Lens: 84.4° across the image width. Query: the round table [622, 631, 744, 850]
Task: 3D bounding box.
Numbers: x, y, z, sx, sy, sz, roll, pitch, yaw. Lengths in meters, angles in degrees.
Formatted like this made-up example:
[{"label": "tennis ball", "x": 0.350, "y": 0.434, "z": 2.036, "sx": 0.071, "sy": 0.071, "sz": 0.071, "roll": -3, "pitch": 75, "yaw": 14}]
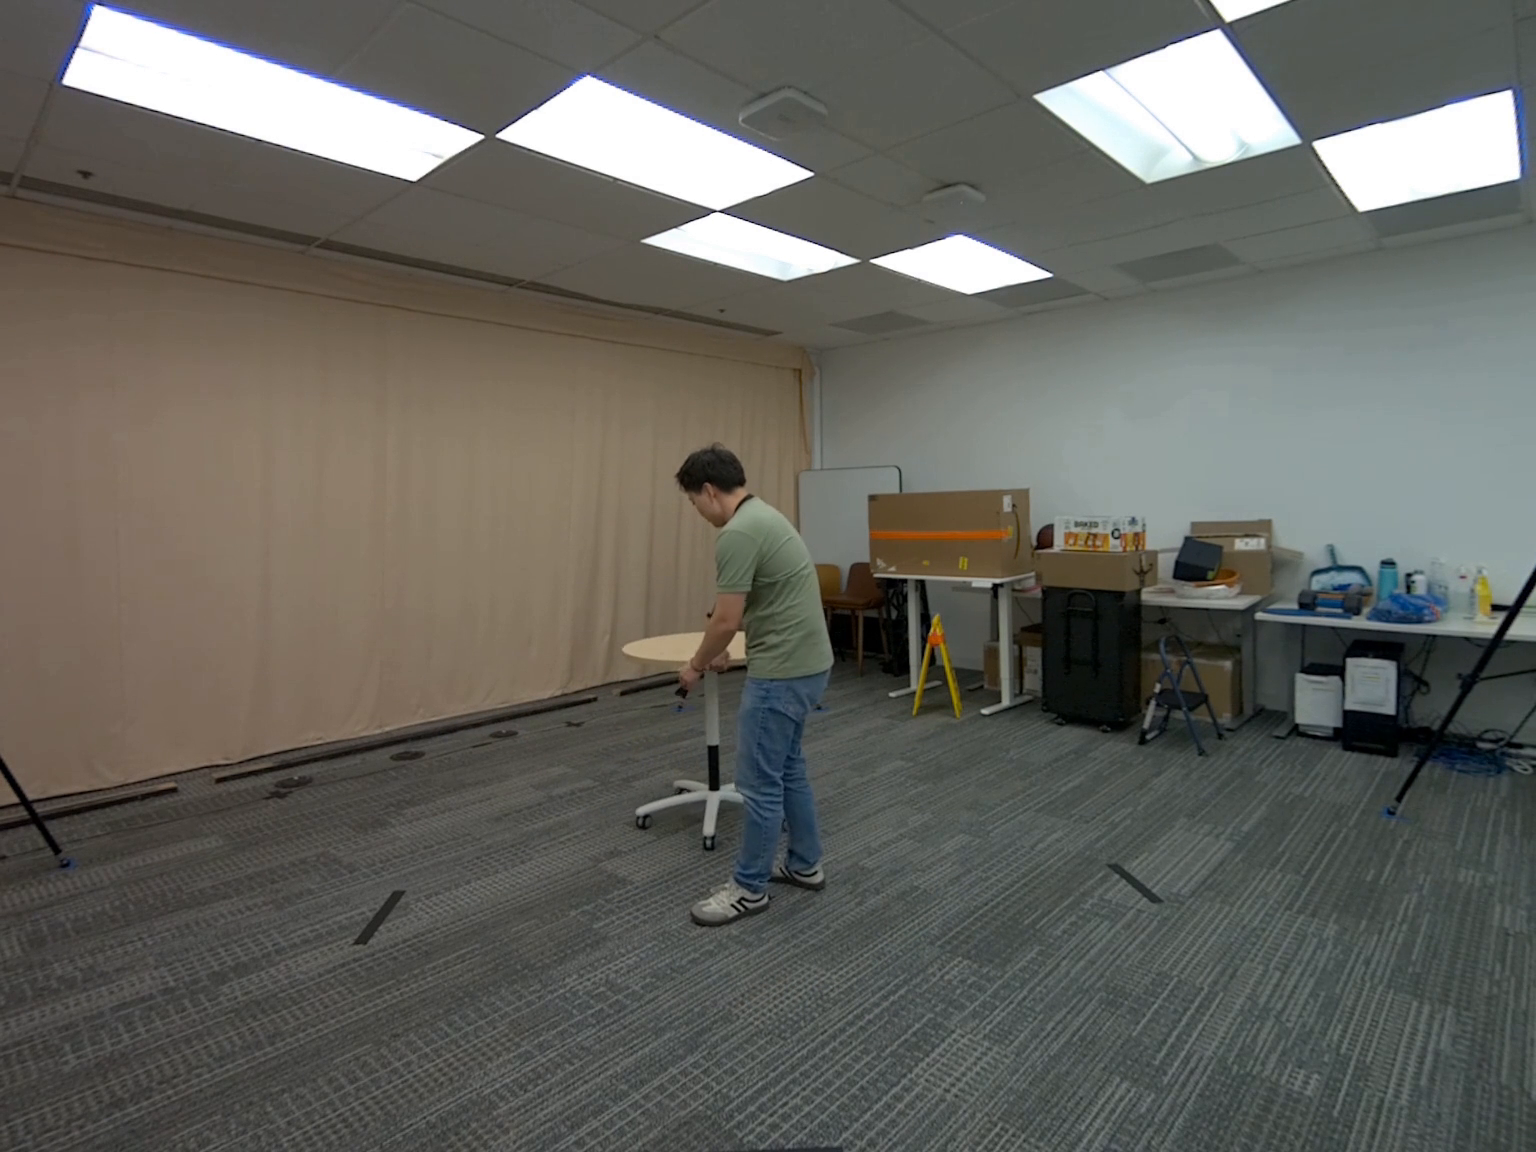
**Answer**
[{"label": "round table", "x": -0.236, "y": 0.694, "z": 3.692, "sx": 0.763, "sy": 0.792, "sz": 0.766, "roll": -2, "pitch": 3, "yaw": -2}]
